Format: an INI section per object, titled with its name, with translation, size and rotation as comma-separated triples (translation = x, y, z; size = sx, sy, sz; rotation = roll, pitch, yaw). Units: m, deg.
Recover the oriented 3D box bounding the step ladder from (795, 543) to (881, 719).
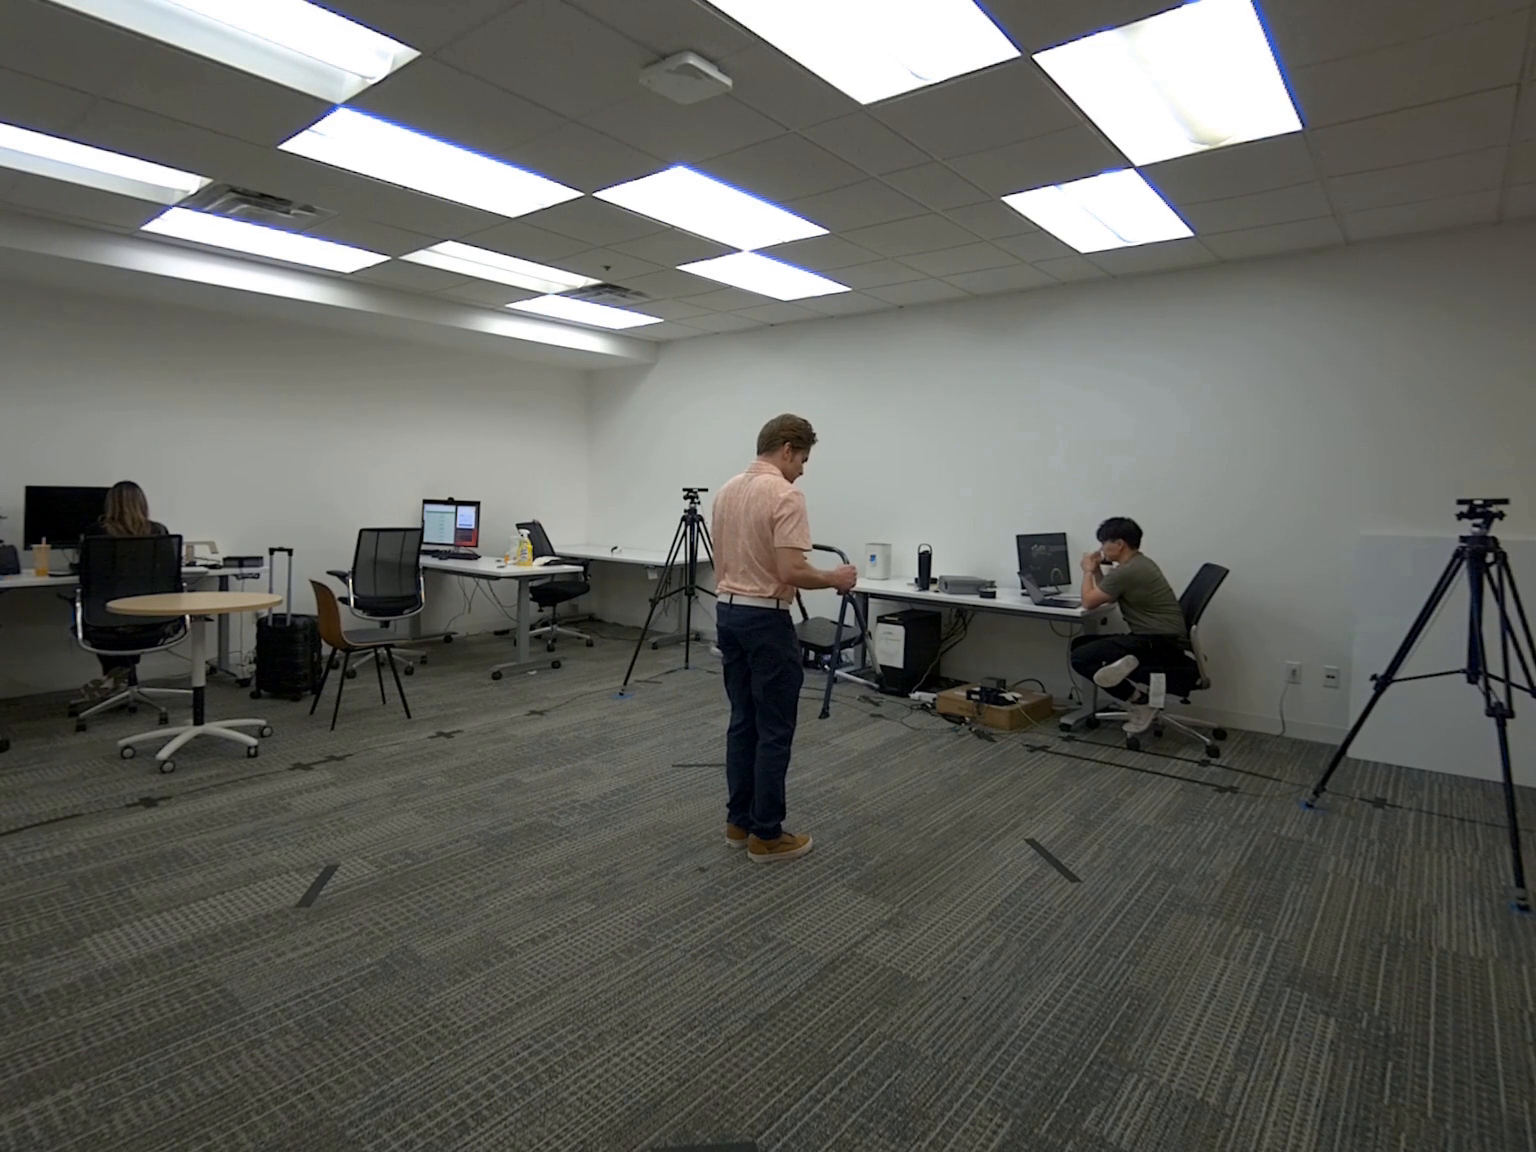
[step ladder]
translation = 0.194, 0.191, 3.451
size = 0.342, 0.598, 0.445
rotation = -14, 14, -32
